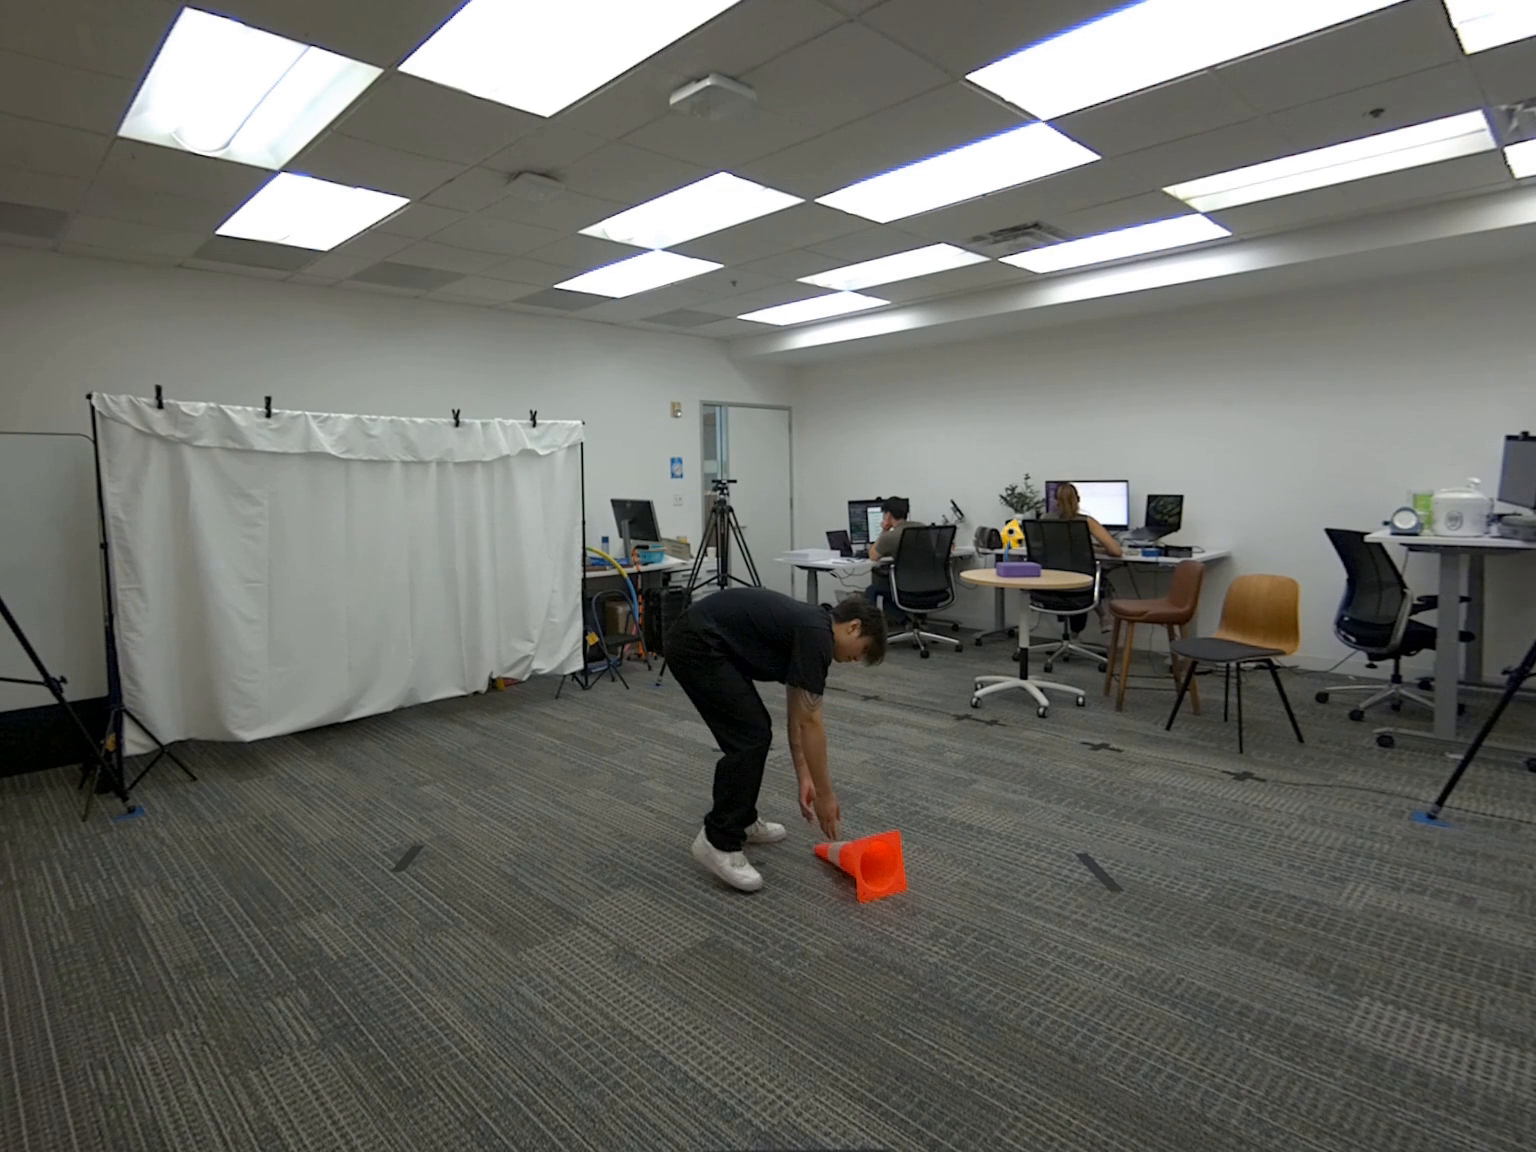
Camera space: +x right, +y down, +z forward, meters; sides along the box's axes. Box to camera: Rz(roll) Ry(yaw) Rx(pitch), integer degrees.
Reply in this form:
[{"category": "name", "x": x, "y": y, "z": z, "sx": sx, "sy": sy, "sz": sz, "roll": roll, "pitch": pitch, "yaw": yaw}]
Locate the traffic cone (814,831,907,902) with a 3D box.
[{"category": "traffic cone", "x": 0.284, "y": 0.994, "z": 3.028, "sx": 0.200, "sy": 0.205, "sz": 0.390, "roll": -2, "pitch": -7, "yaw": -29}]
